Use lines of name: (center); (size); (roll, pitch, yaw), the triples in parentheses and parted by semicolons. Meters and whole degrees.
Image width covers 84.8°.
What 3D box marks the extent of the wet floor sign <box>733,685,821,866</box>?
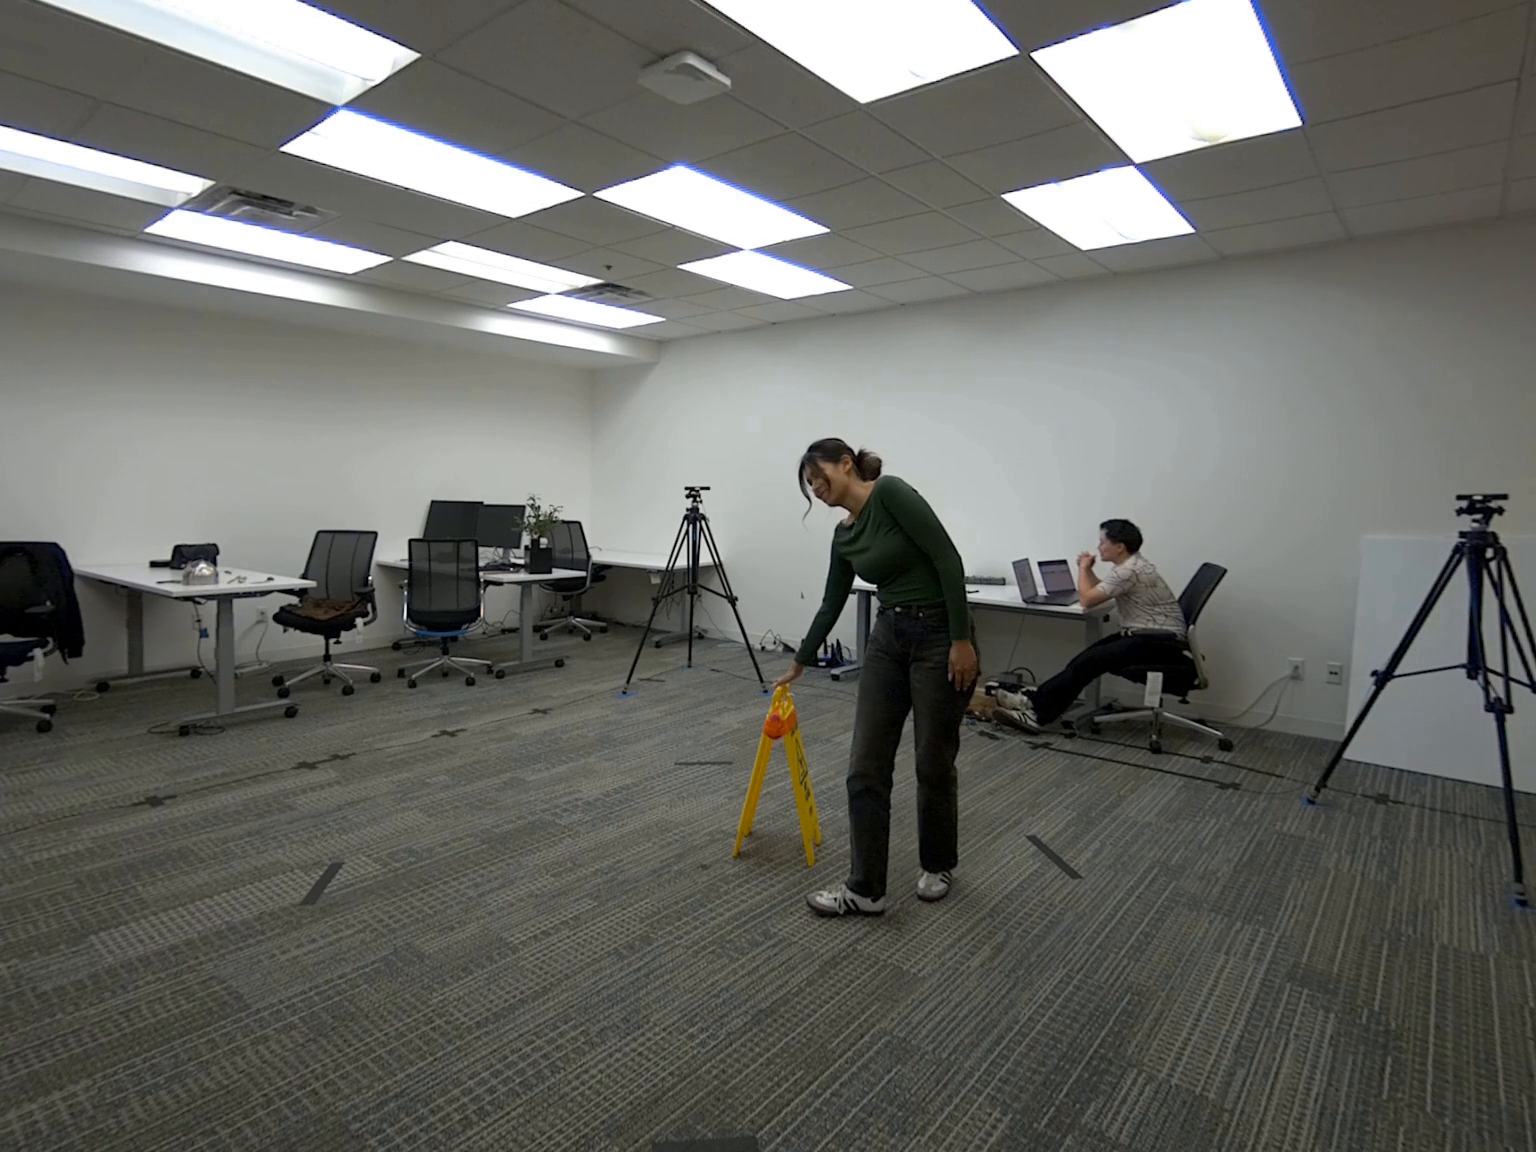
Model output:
wet floor sign: (0.034, 0.731, 3.284); (0.294, 0.645, 0.278); (1, 2, 13)
